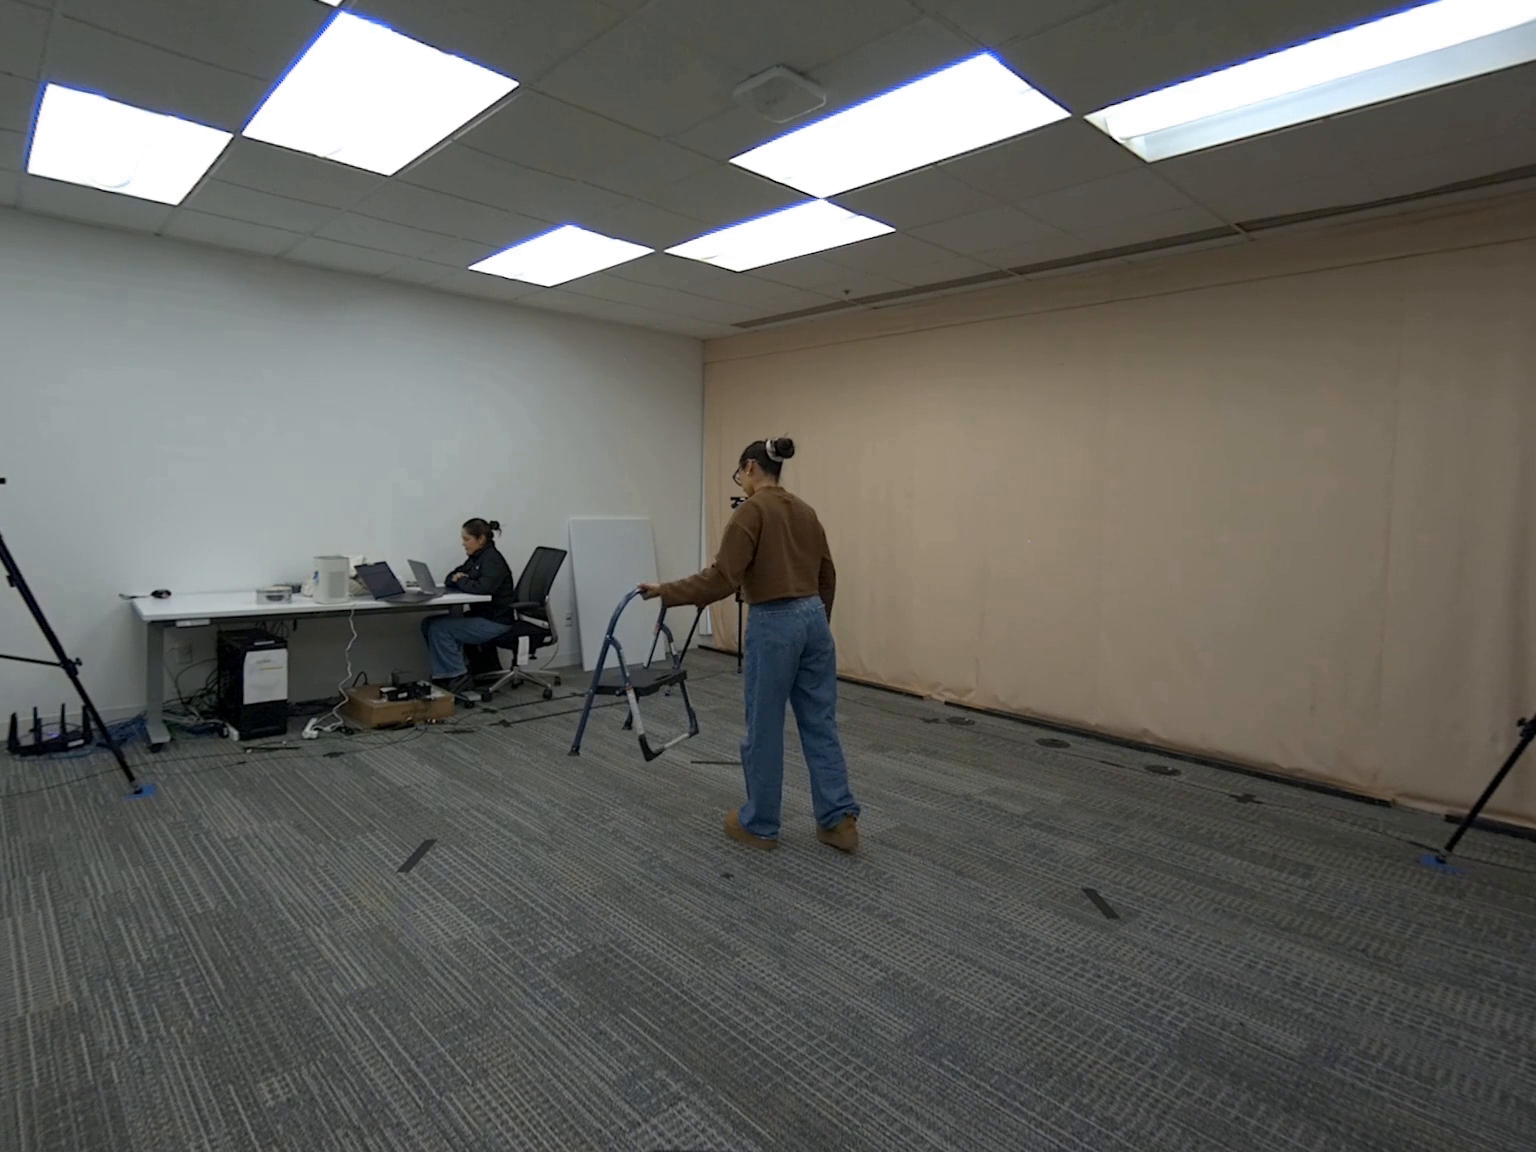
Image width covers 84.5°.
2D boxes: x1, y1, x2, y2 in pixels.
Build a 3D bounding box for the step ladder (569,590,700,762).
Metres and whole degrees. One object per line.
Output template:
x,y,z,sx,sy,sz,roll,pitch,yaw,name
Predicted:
-0.511,0.340,3.216,0.355,0.605,0.424,-2,2,21,step ladder
